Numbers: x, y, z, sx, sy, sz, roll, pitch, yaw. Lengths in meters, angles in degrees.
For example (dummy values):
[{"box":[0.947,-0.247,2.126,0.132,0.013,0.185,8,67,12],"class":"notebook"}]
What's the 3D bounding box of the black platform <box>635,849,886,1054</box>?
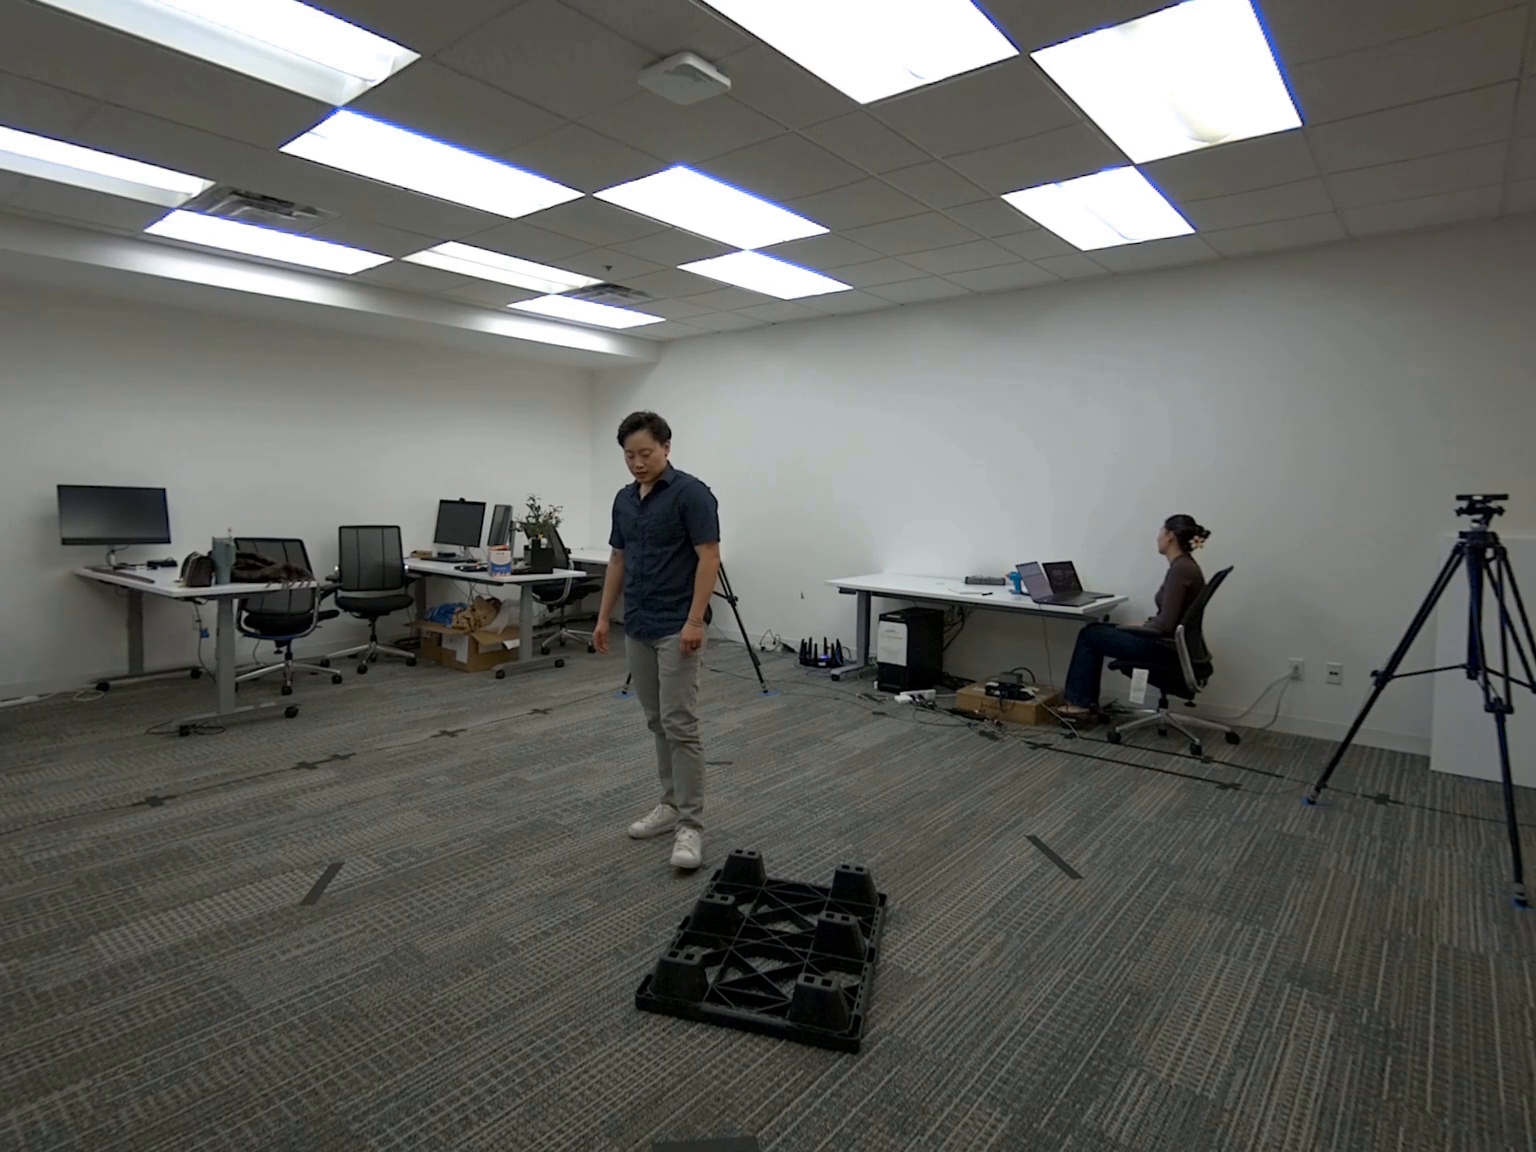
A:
[{"box":[0.022,1.060,2.551,0.615,0.143,0.796,2,6,14],"class":"black platform"}]
